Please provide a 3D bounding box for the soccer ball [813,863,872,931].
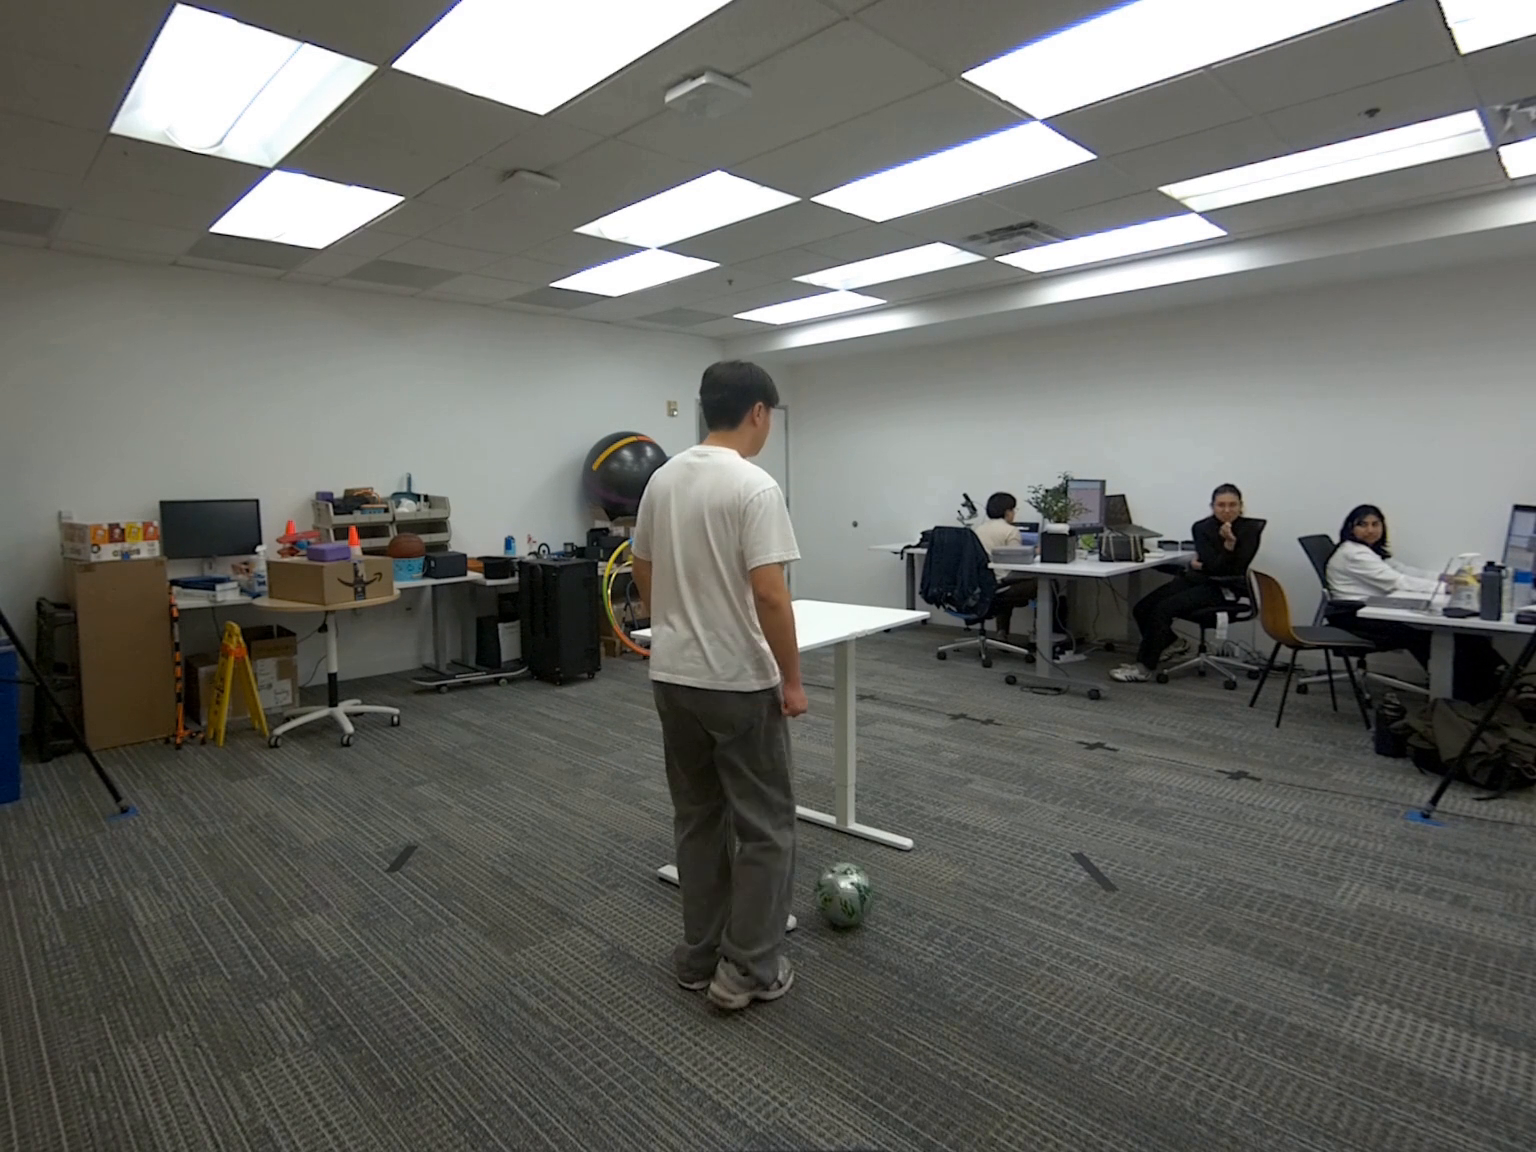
[{"bbox_3d":[0.248,0.995,2.671,0.187,0.187,0.188,-1,5,-2],"label":"soccer ball"}]
